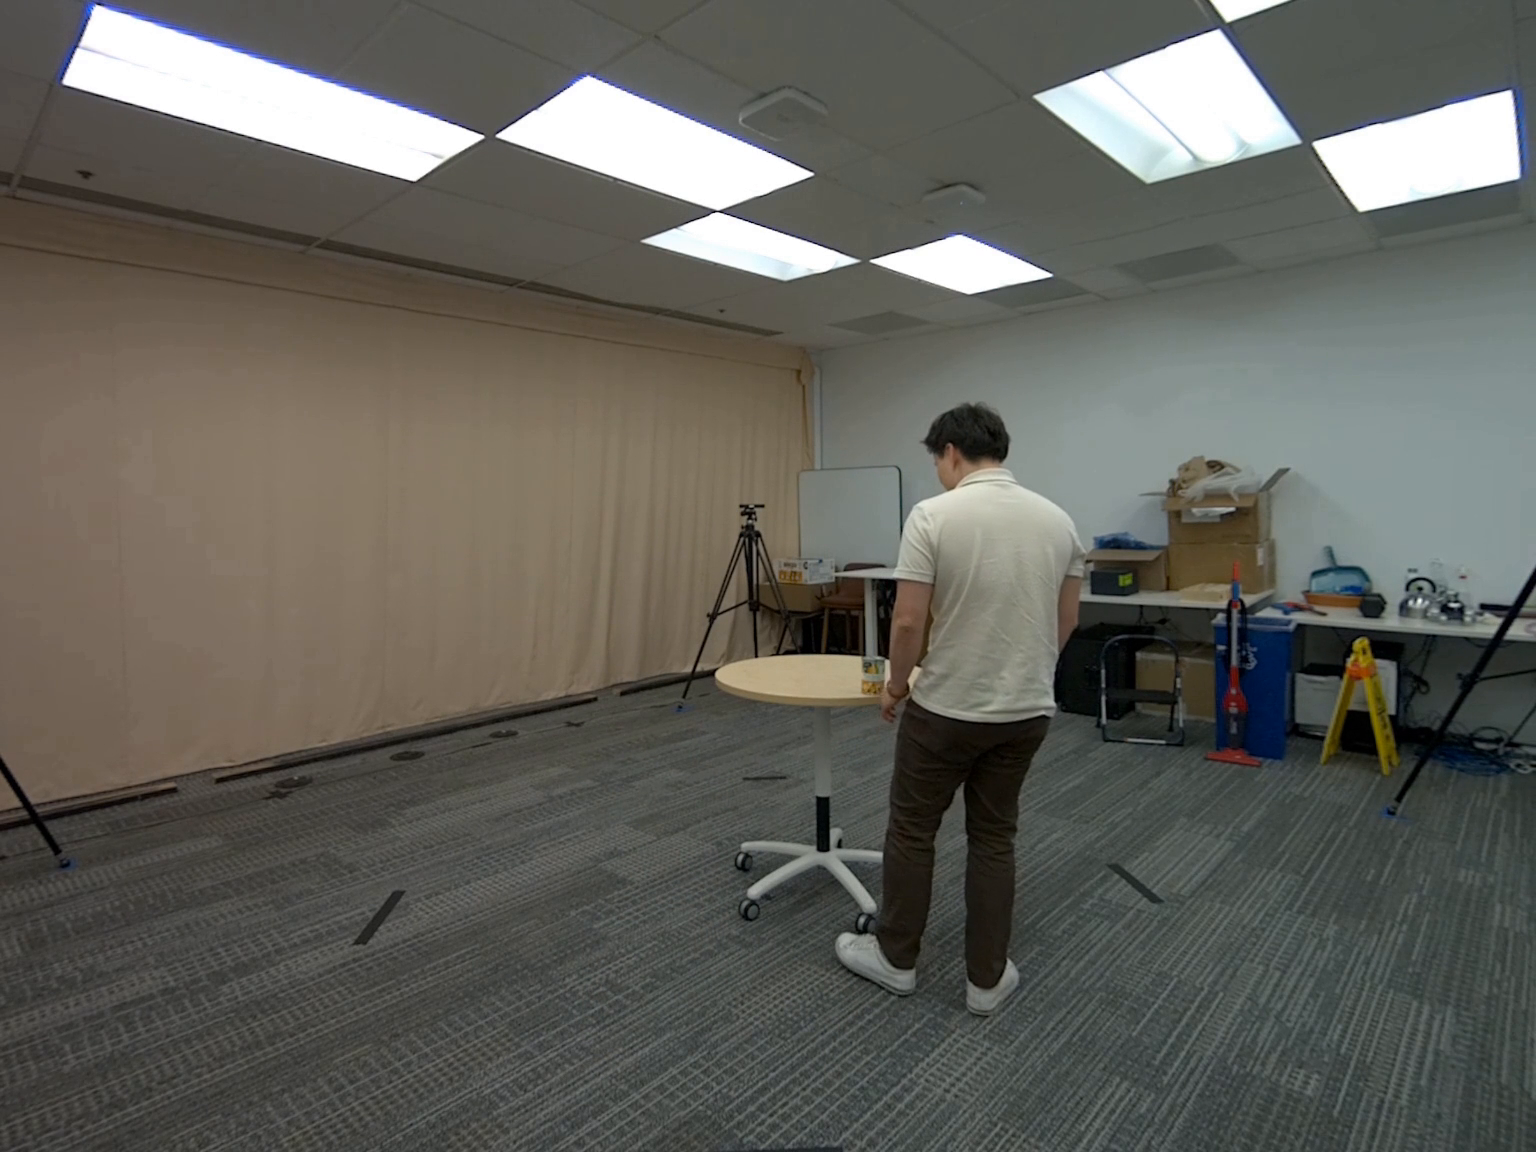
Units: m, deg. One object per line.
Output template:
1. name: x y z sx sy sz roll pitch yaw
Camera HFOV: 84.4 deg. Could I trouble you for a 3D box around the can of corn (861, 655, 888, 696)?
1. can of corn: 0.345 0.320 2.691 0.074 0.111 0.074 1 4 -2
